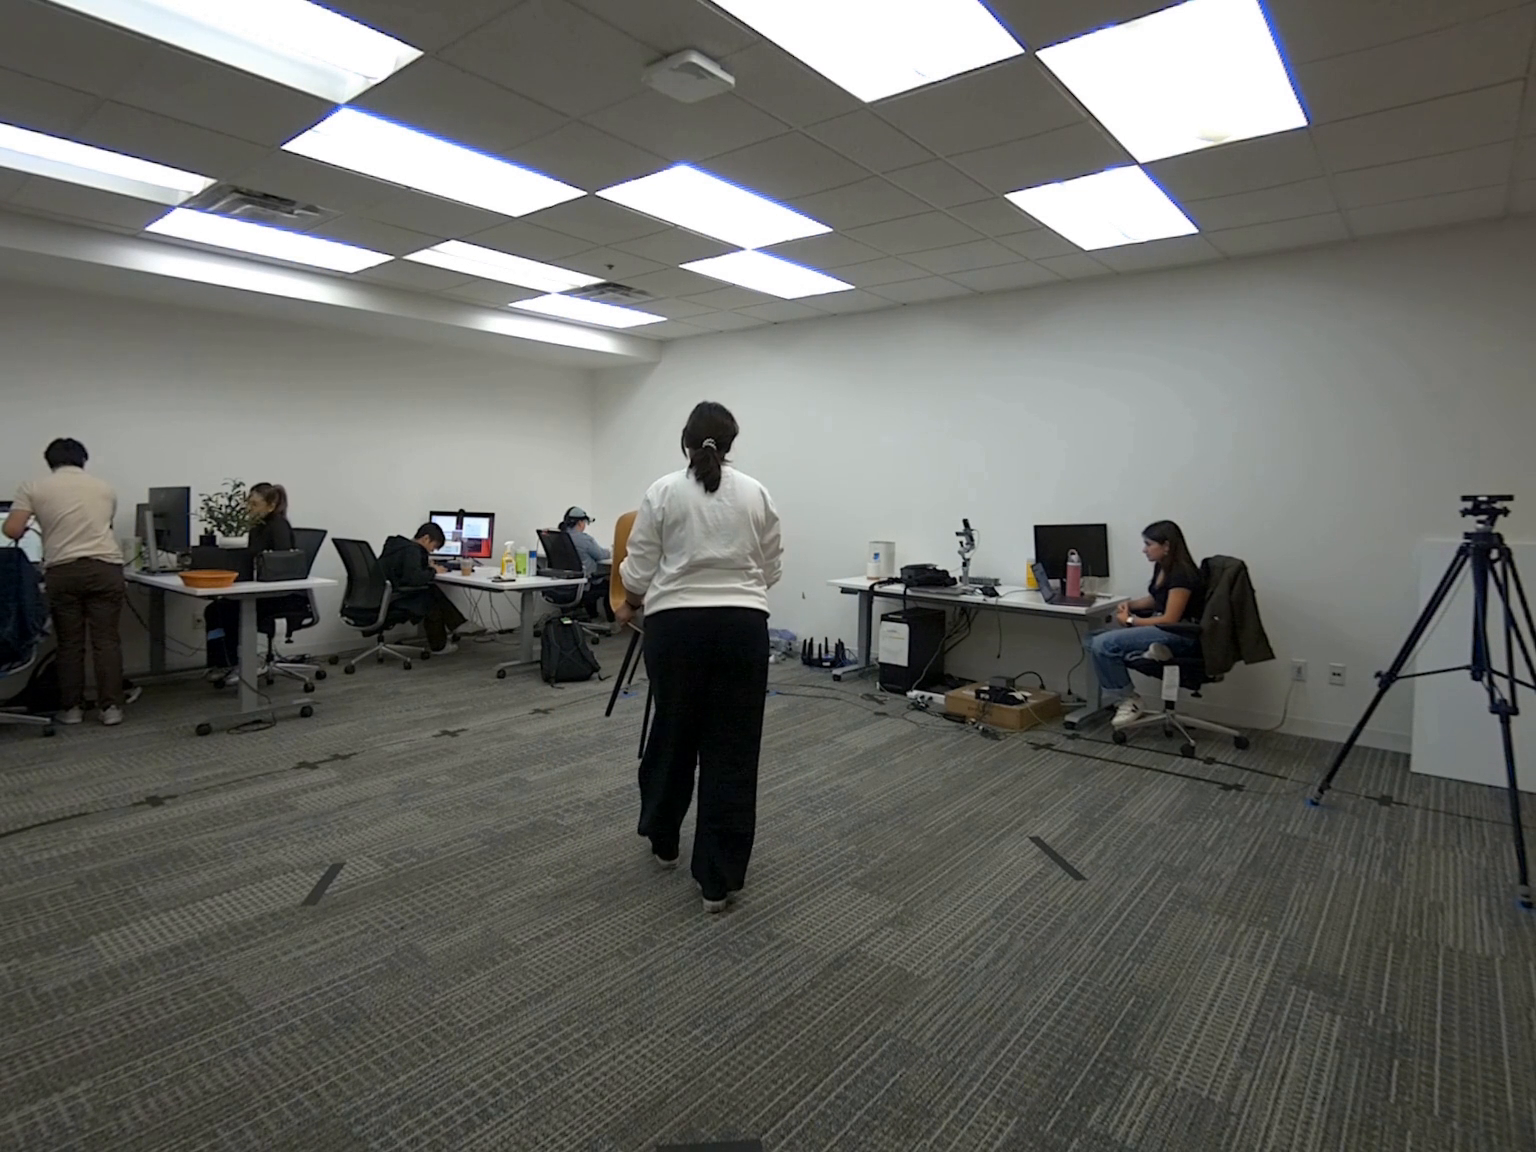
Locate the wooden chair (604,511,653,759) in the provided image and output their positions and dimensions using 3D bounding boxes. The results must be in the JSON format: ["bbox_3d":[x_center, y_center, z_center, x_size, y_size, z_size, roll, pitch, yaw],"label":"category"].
[{"bbox_3d":[-0.346,0.192,3.304,0.467,0.873,0.538,-1,6,-25],"label":"wooden chair"}]
